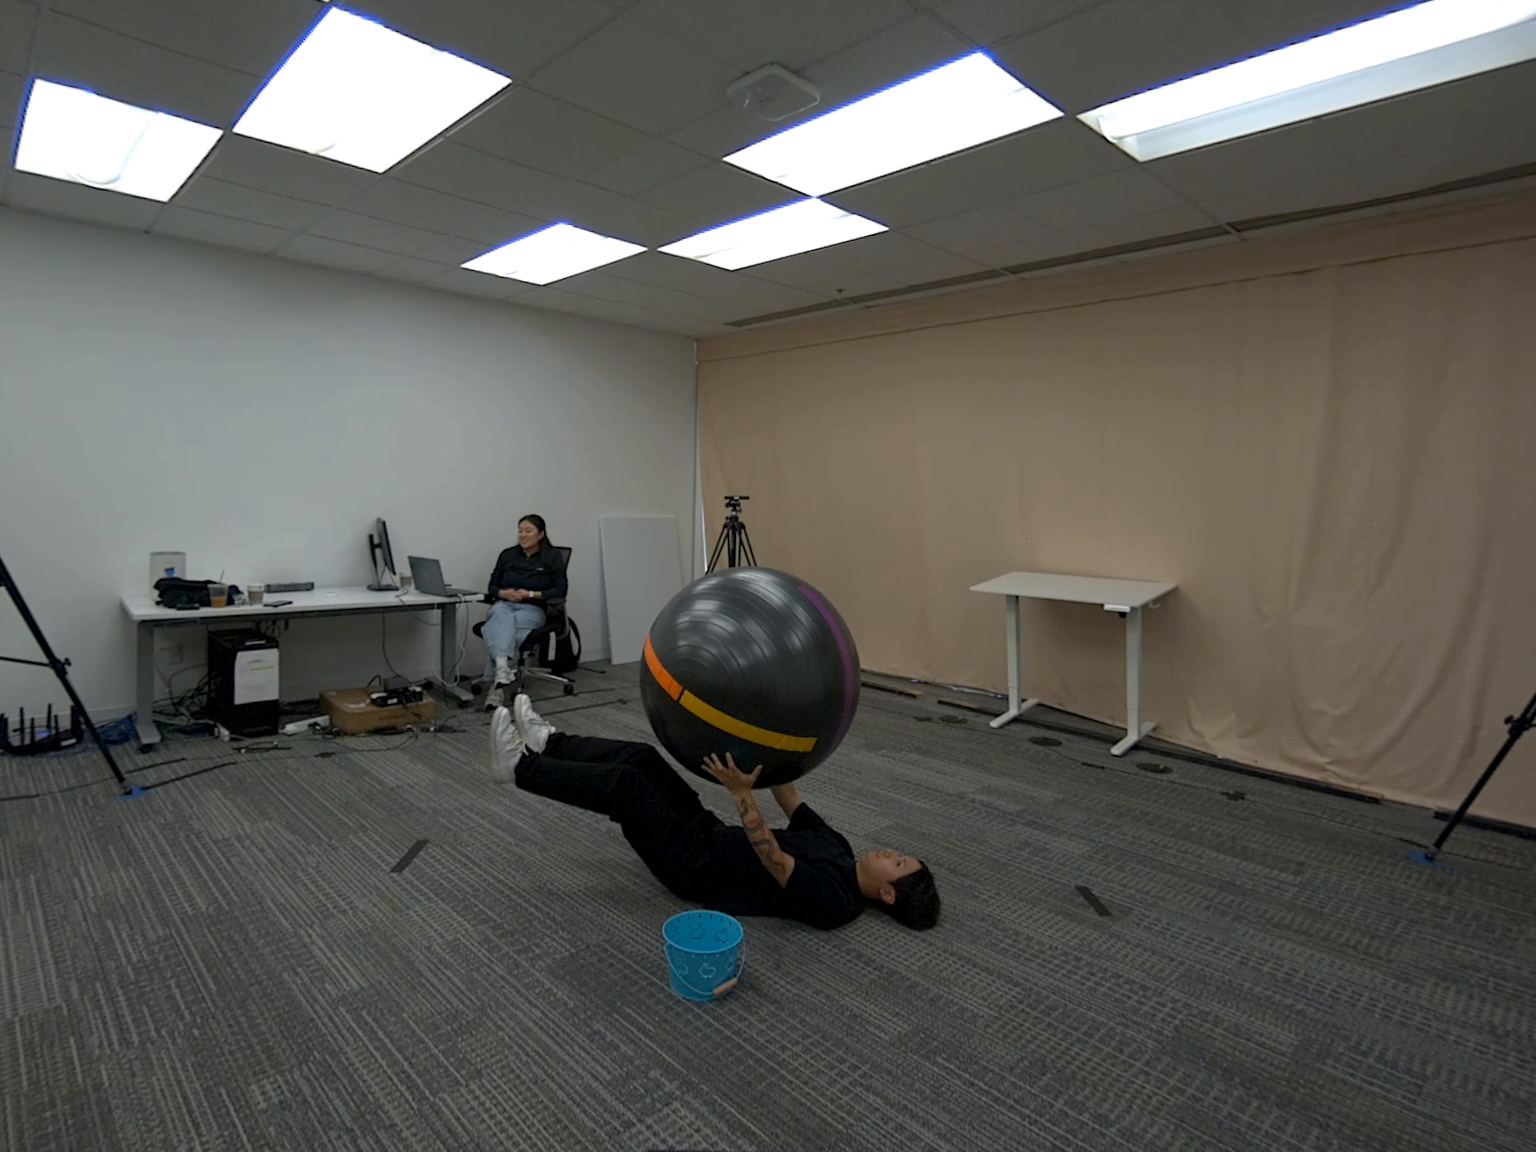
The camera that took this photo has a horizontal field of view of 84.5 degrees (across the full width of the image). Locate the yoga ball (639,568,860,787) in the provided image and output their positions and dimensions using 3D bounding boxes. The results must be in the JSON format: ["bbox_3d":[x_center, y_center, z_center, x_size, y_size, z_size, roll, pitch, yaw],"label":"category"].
[{"bbox_3d":[-0.062,0.353,2.919,0.757,0.756,0.761,1,4,-1],"label":"yoga ball"}]
